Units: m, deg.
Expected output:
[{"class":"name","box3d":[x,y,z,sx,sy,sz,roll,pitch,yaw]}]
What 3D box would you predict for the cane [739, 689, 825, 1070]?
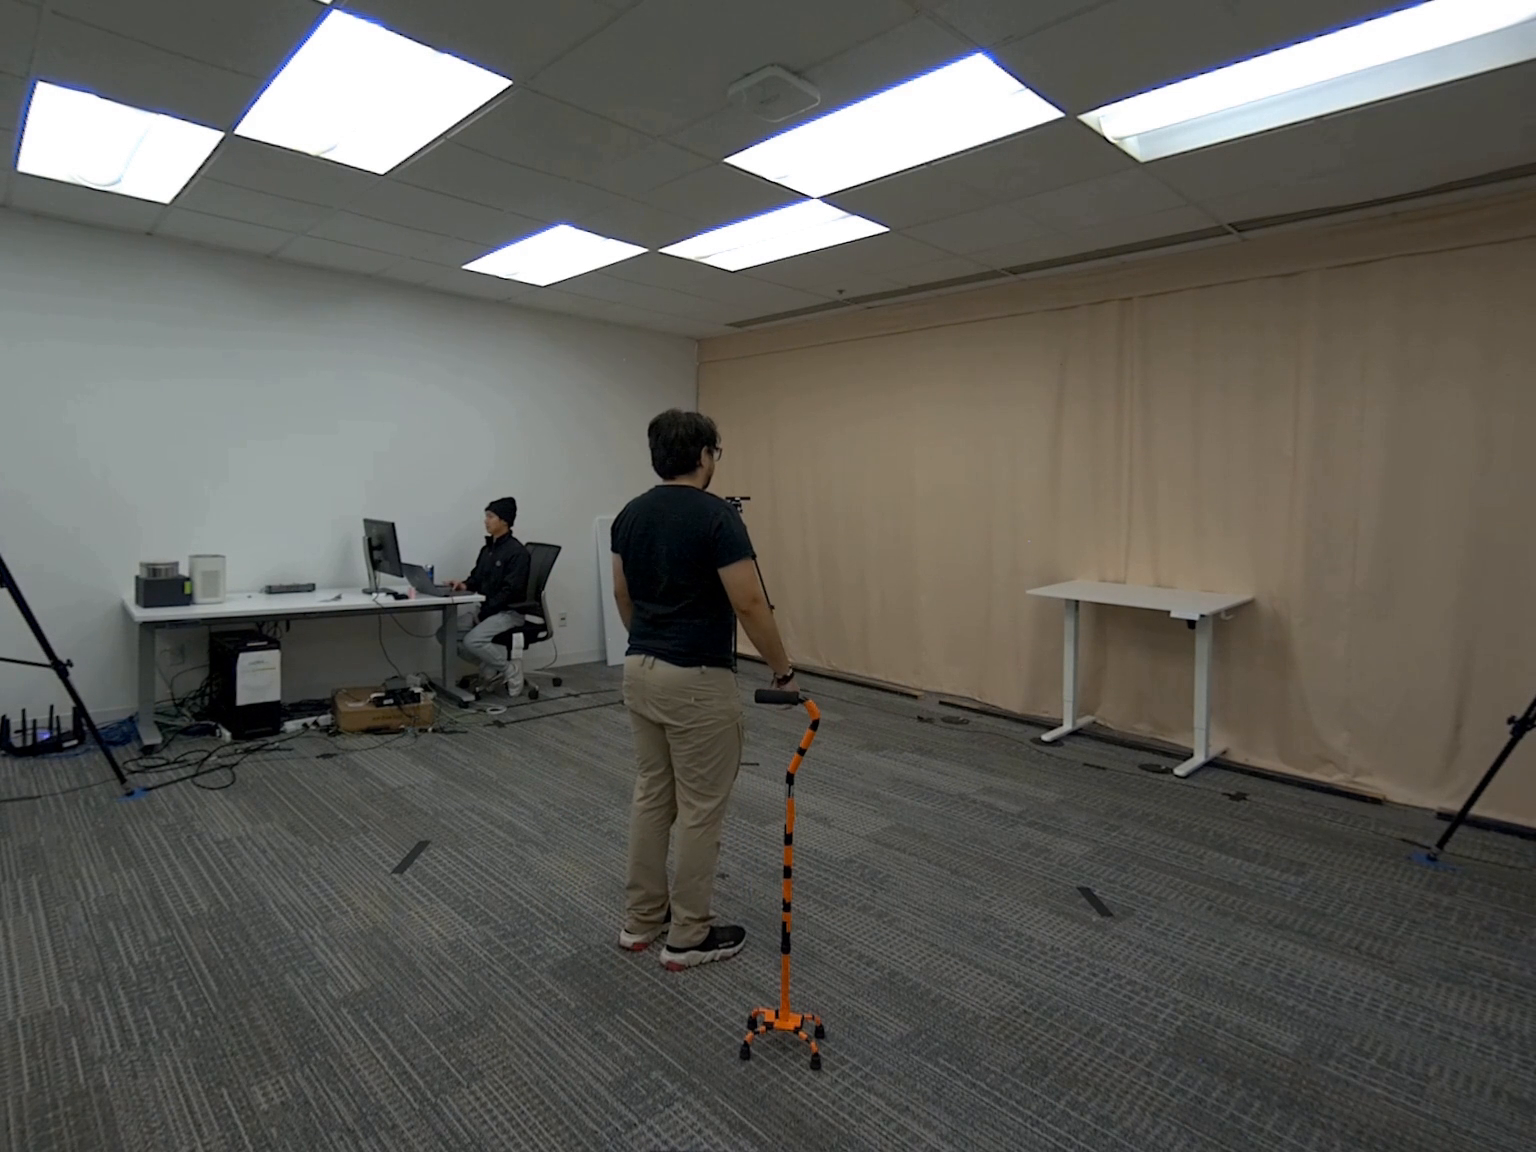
[{"class":"cane","box3d":[0.045,0.756,2.111,0.208,0.905,0.151,2,4,7]}]
